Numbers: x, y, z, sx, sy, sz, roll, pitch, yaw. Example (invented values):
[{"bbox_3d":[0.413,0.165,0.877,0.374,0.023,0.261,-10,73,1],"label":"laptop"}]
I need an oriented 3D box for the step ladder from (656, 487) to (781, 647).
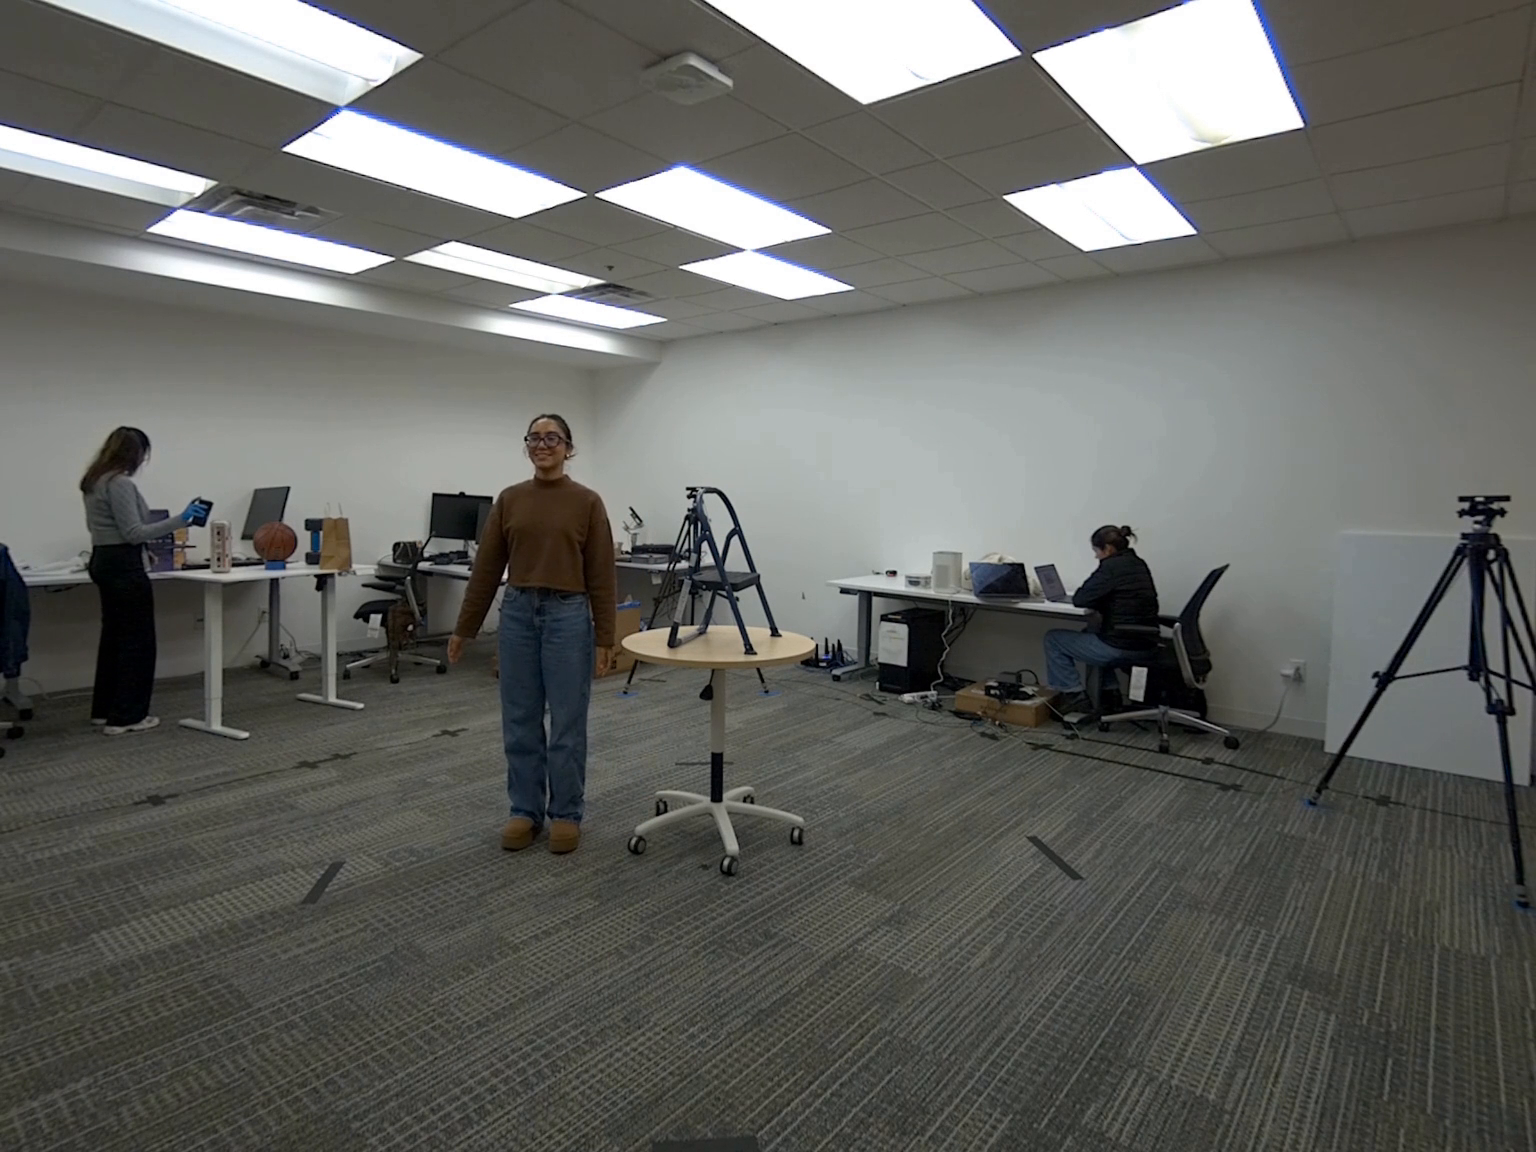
[{"bbox_3d":[-0.171,-0.041,3.344,0.355,0.604,0.425,2,4,15],"label":"step ladder"}]
